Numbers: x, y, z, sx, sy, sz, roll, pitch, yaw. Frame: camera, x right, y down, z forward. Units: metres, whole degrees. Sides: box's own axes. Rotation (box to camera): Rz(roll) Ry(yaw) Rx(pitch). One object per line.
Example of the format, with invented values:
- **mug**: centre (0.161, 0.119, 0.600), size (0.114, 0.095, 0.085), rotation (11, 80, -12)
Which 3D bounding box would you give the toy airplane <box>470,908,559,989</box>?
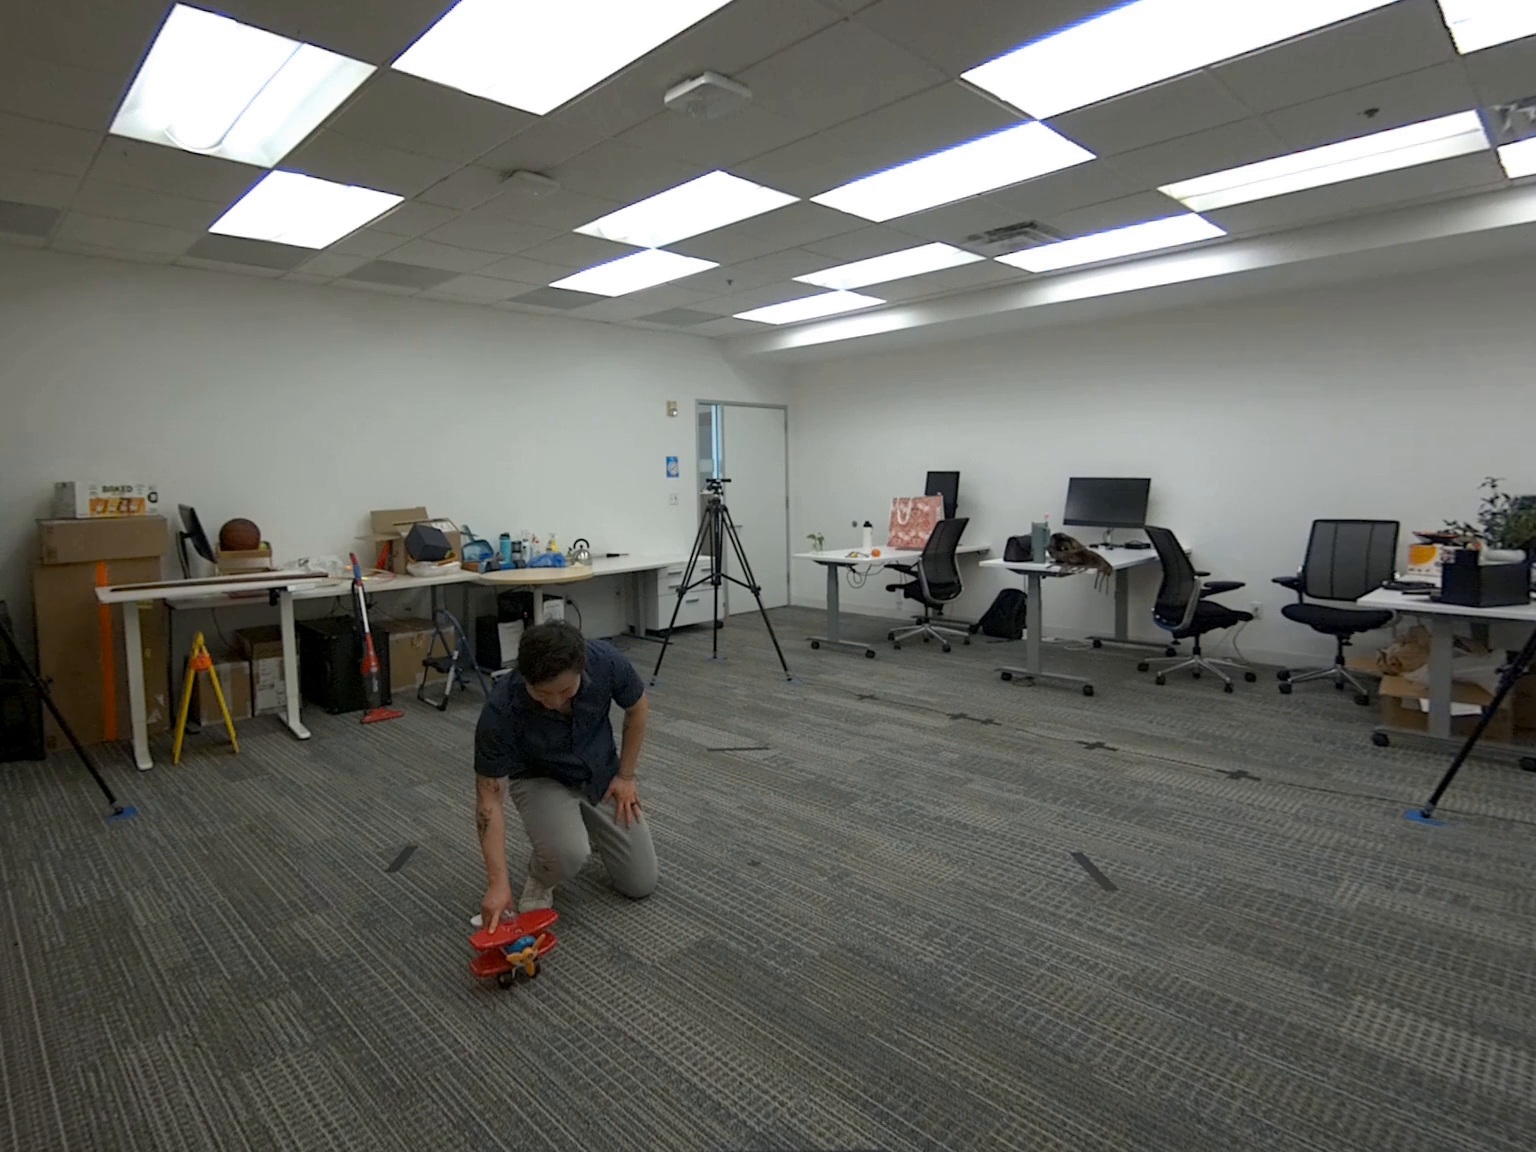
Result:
- **toy airplane**: centre (-0.758, 1.046, 2.433), size (0.264, 0.154, 0.249), rotation (20, 21, 15)
